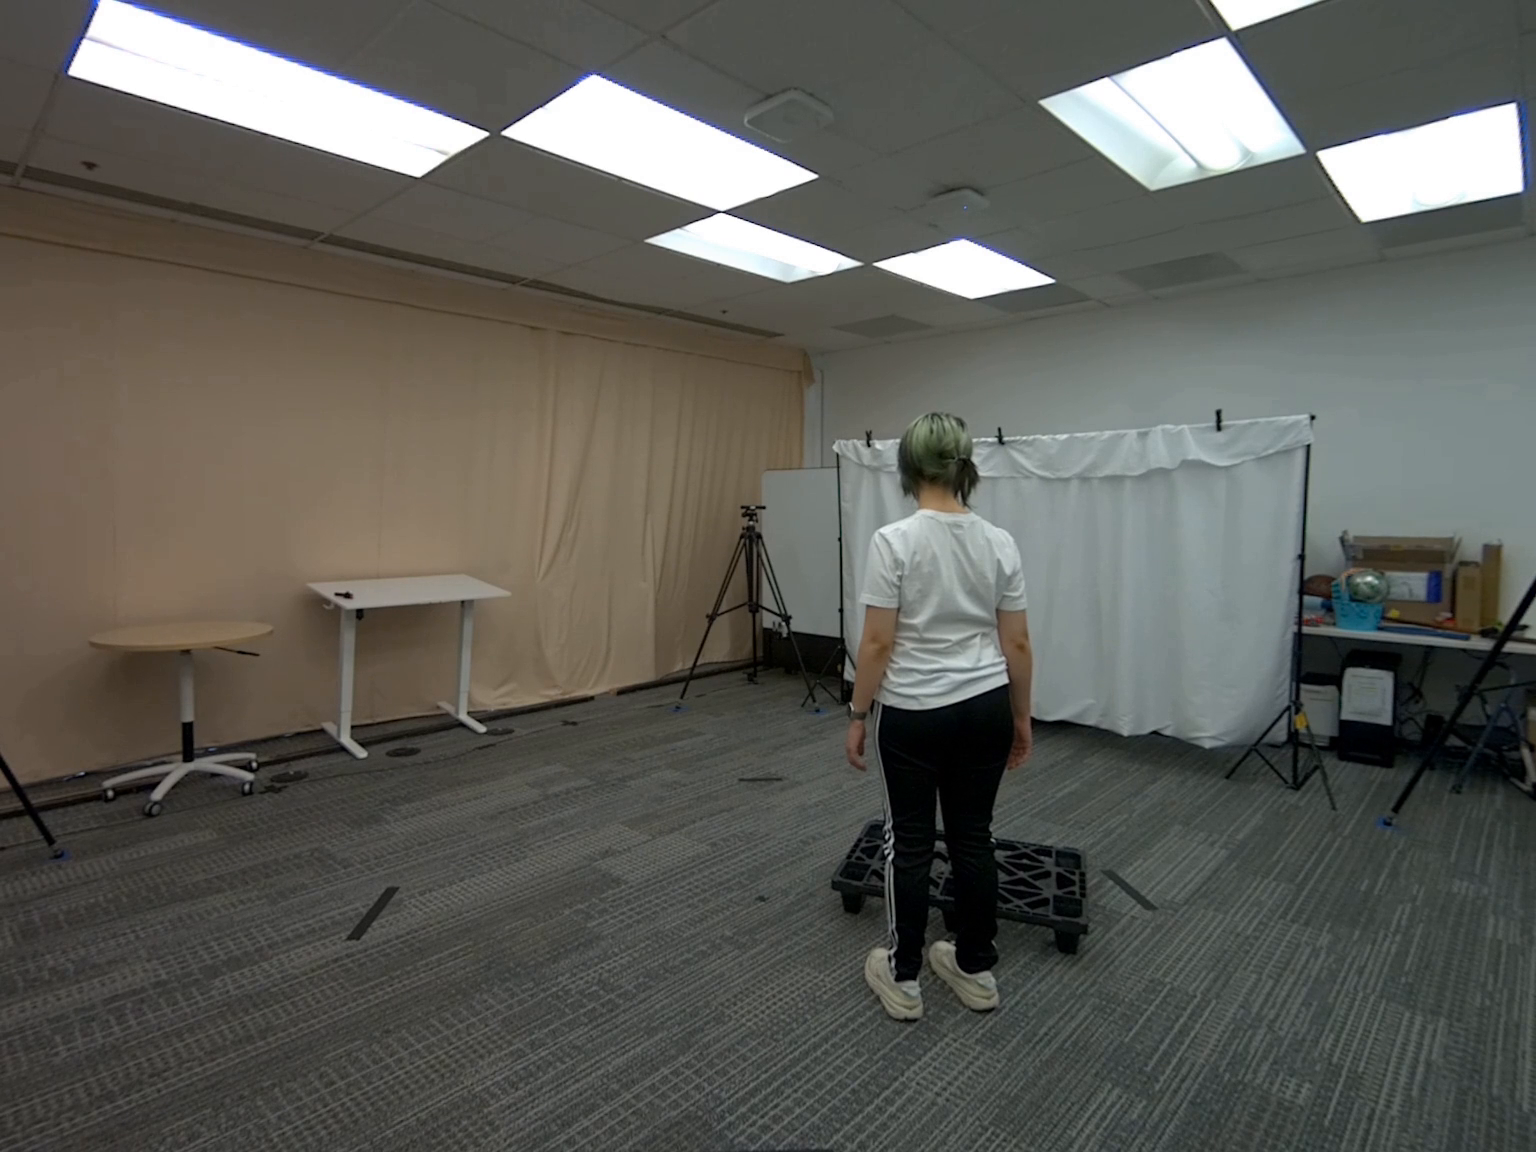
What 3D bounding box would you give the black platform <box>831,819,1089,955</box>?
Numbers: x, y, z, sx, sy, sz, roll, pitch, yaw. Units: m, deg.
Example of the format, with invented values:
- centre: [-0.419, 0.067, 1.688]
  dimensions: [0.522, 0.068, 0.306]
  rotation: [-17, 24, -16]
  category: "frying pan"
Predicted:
- centre: [0.685, 1.074, 2.954]
  dimensions: [0.824, 0.143, 0.592]
  rotation: [2, 4, 21]
  category: "black platform"
